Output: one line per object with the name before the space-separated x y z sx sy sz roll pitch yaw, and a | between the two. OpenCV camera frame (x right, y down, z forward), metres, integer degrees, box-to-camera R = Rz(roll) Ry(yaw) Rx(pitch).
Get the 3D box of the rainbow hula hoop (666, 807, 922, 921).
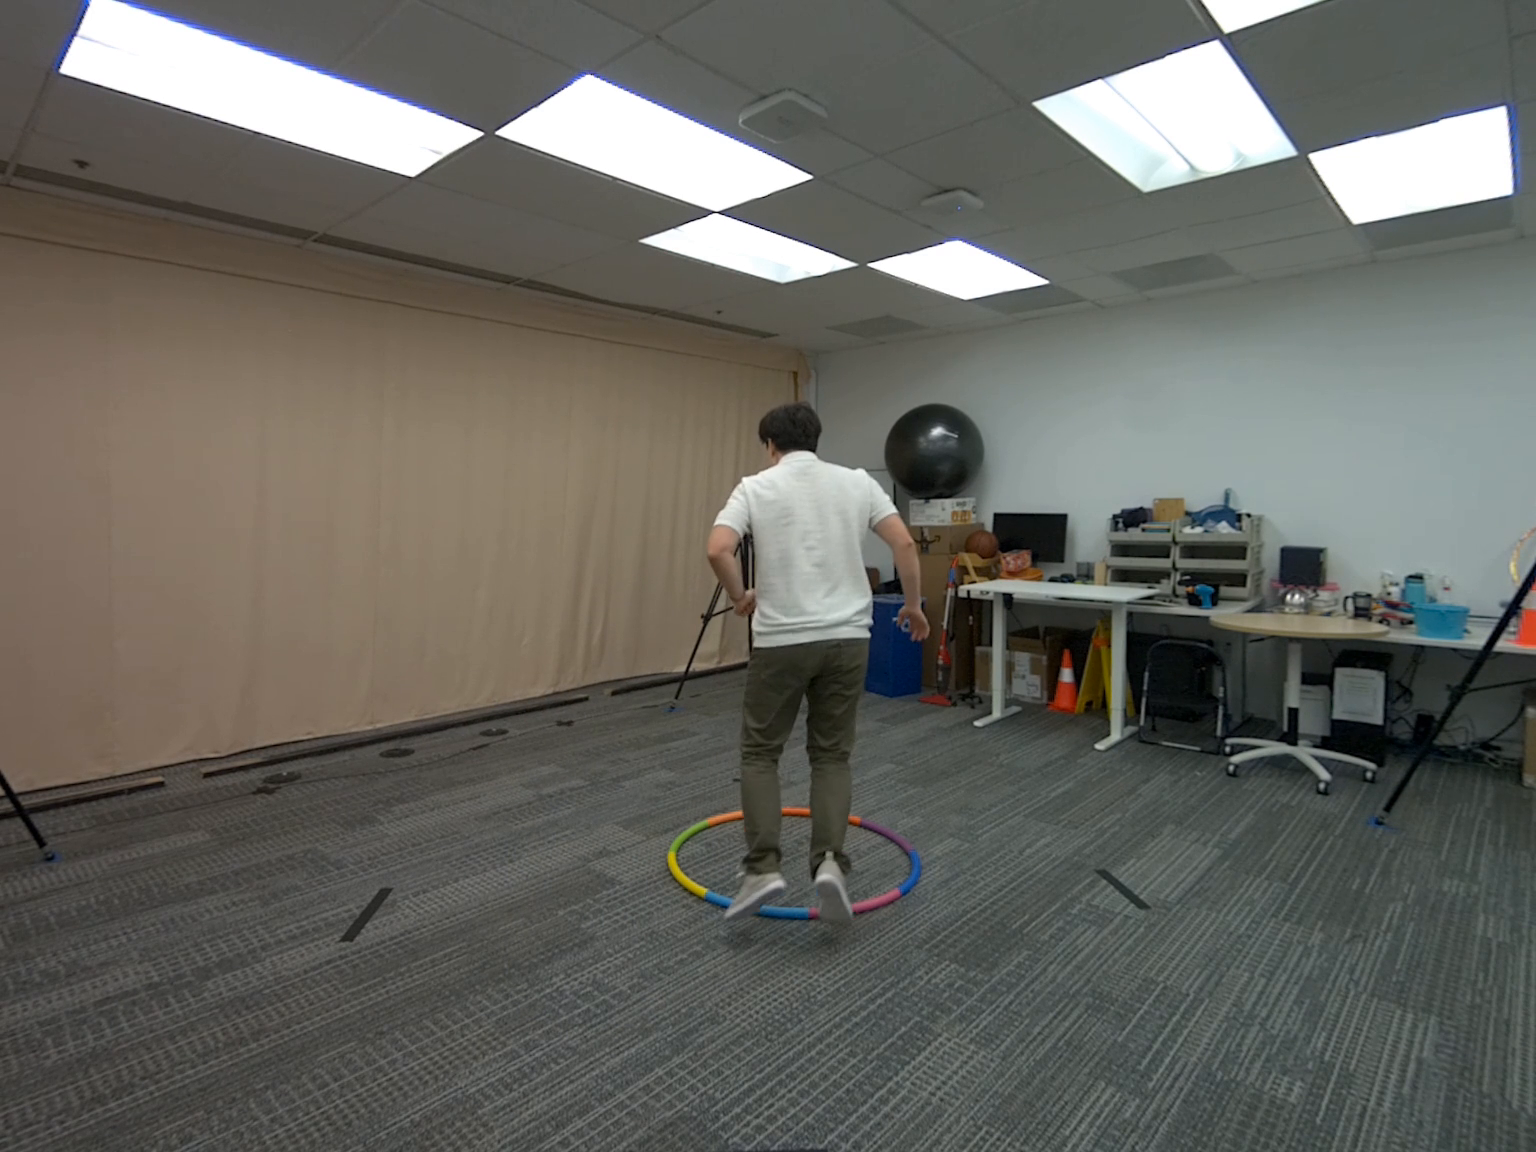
rainbow hula hoop | 0.098 1.088 3.313 0.978 0.035 0.982 0 5 -2
